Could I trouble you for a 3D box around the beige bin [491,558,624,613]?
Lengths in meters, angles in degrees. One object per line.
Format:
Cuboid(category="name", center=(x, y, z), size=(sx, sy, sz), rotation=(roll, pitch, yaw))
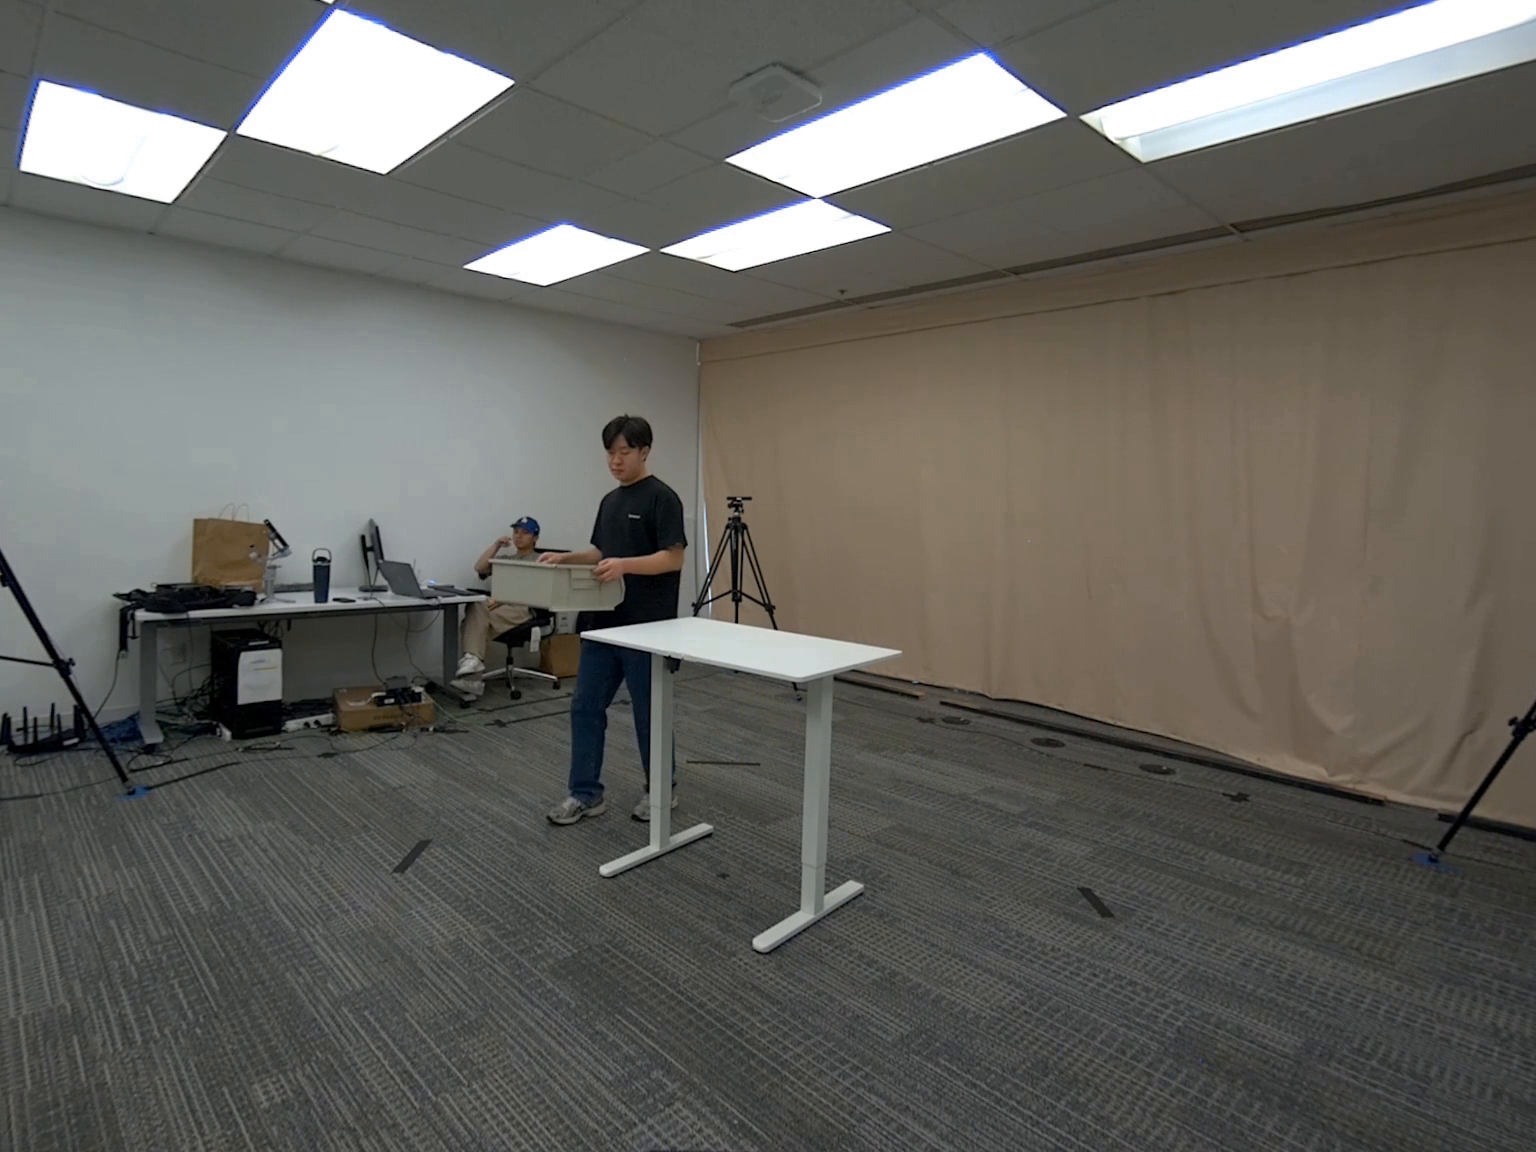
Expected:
Cuboid(category="beige bin", center=(-0.864, 0.040, 3.439), size=(0.433, 0.189, 0.368), rotation=(5, 3, 38))
